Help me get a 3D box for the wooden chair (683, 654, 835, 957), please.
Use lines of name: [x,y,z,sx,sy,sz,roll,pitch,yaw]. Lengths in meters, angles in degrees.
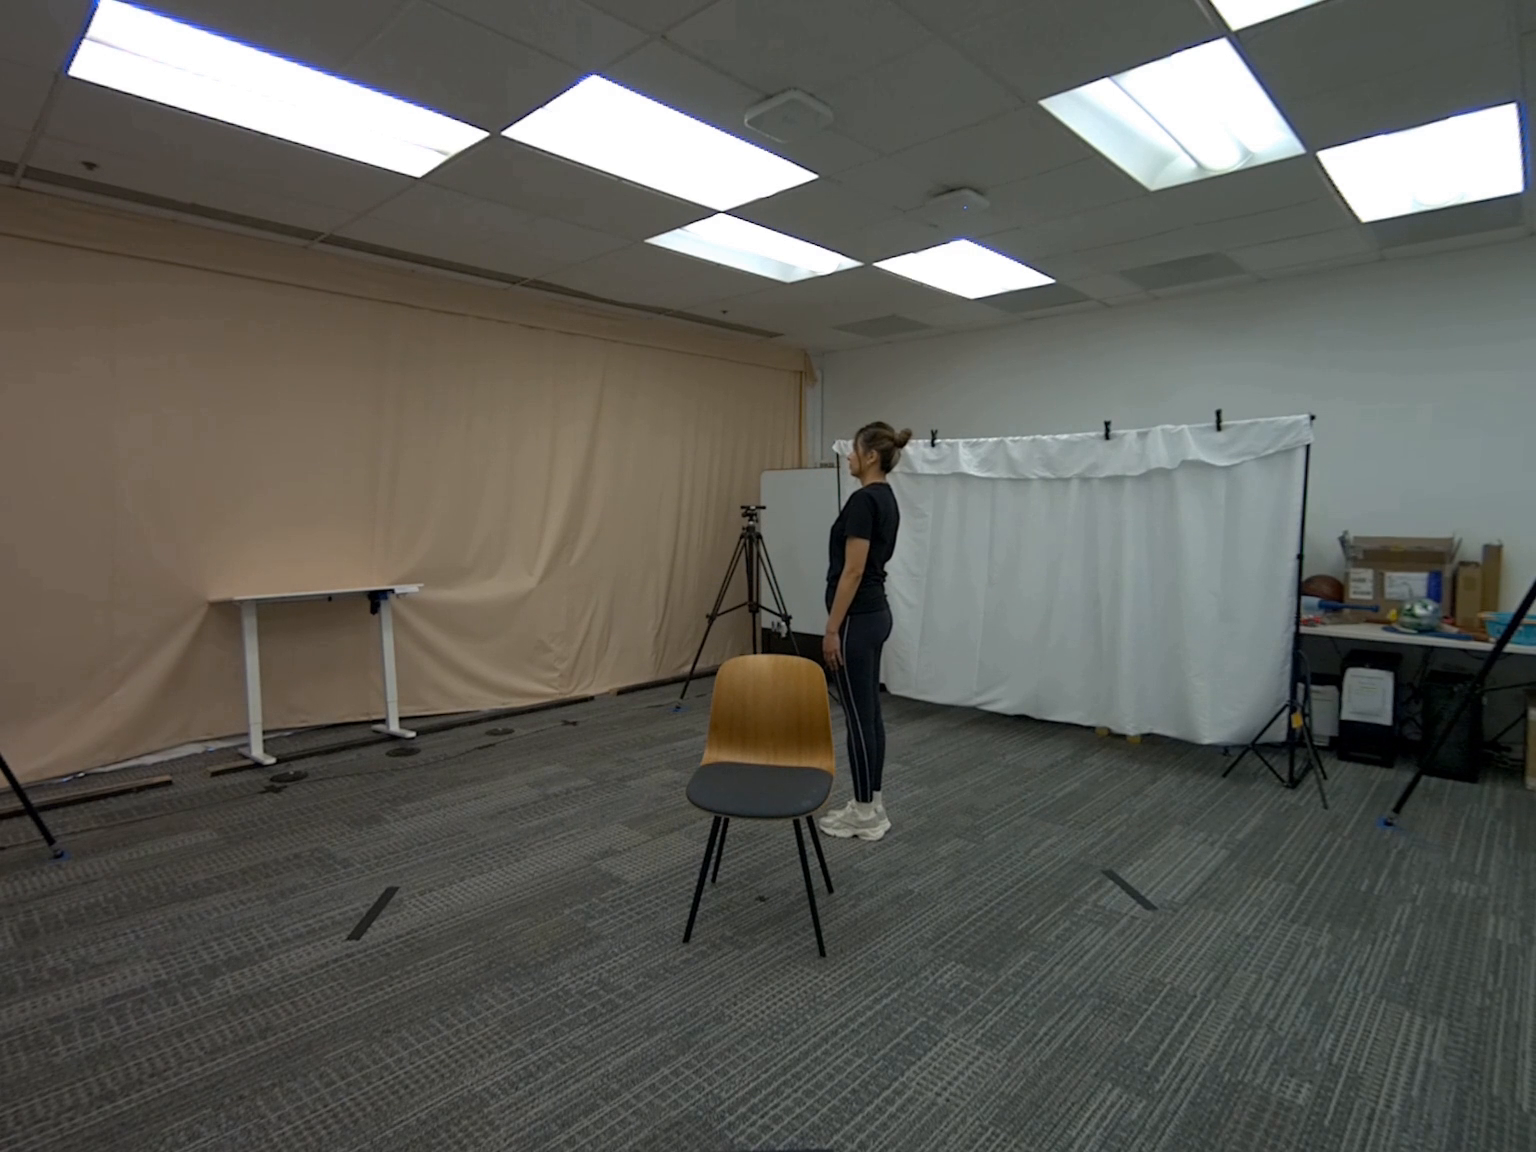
wooden chair: [-0.013,0.729,2.817,0.484,0.878,0.516,1,-1,10]
